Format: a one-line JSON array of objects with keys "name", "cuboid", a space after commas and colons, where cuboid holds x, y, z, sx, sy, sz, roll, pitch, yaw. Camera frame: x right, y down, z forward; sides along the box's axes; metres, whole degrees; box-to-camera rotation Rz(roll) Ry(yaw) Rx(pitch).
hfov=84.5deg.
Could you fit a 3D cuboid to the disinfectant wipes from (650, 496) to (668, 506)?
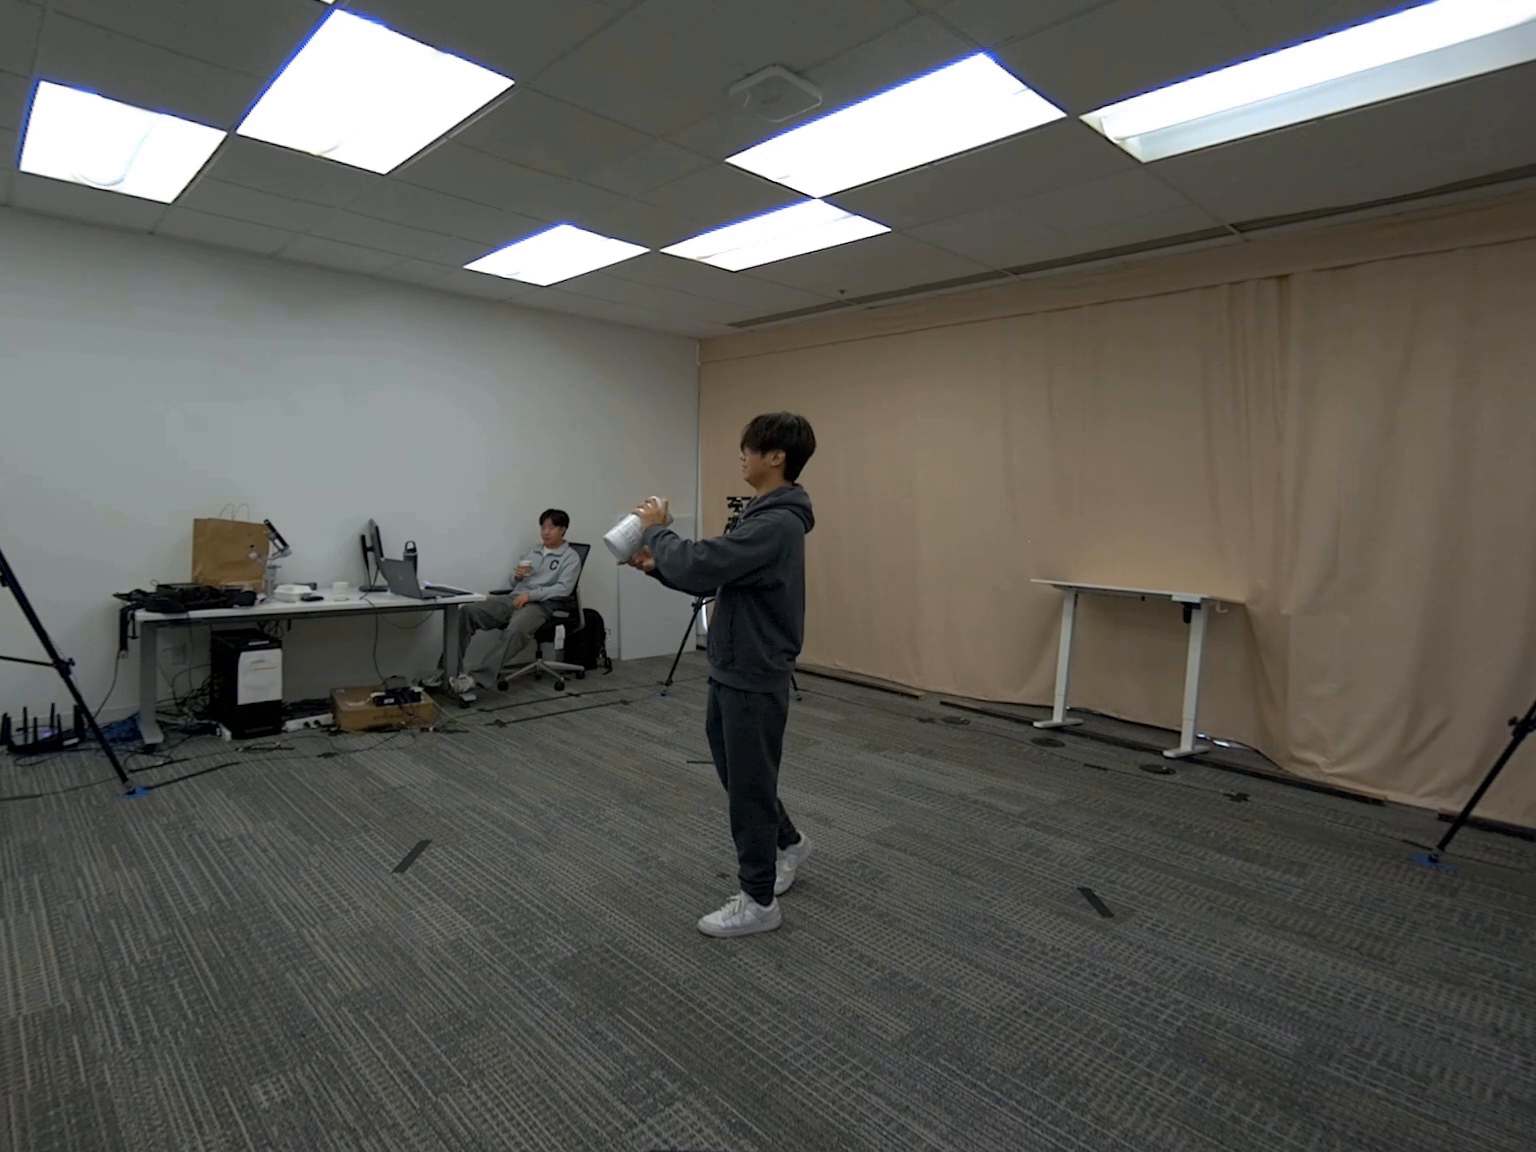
[{"name": "disinfectant wipes", "cuboid": [-0.413, -0.148, 2.710, 0.217, 0.115, 0.120, -43, 21, -17]}]
